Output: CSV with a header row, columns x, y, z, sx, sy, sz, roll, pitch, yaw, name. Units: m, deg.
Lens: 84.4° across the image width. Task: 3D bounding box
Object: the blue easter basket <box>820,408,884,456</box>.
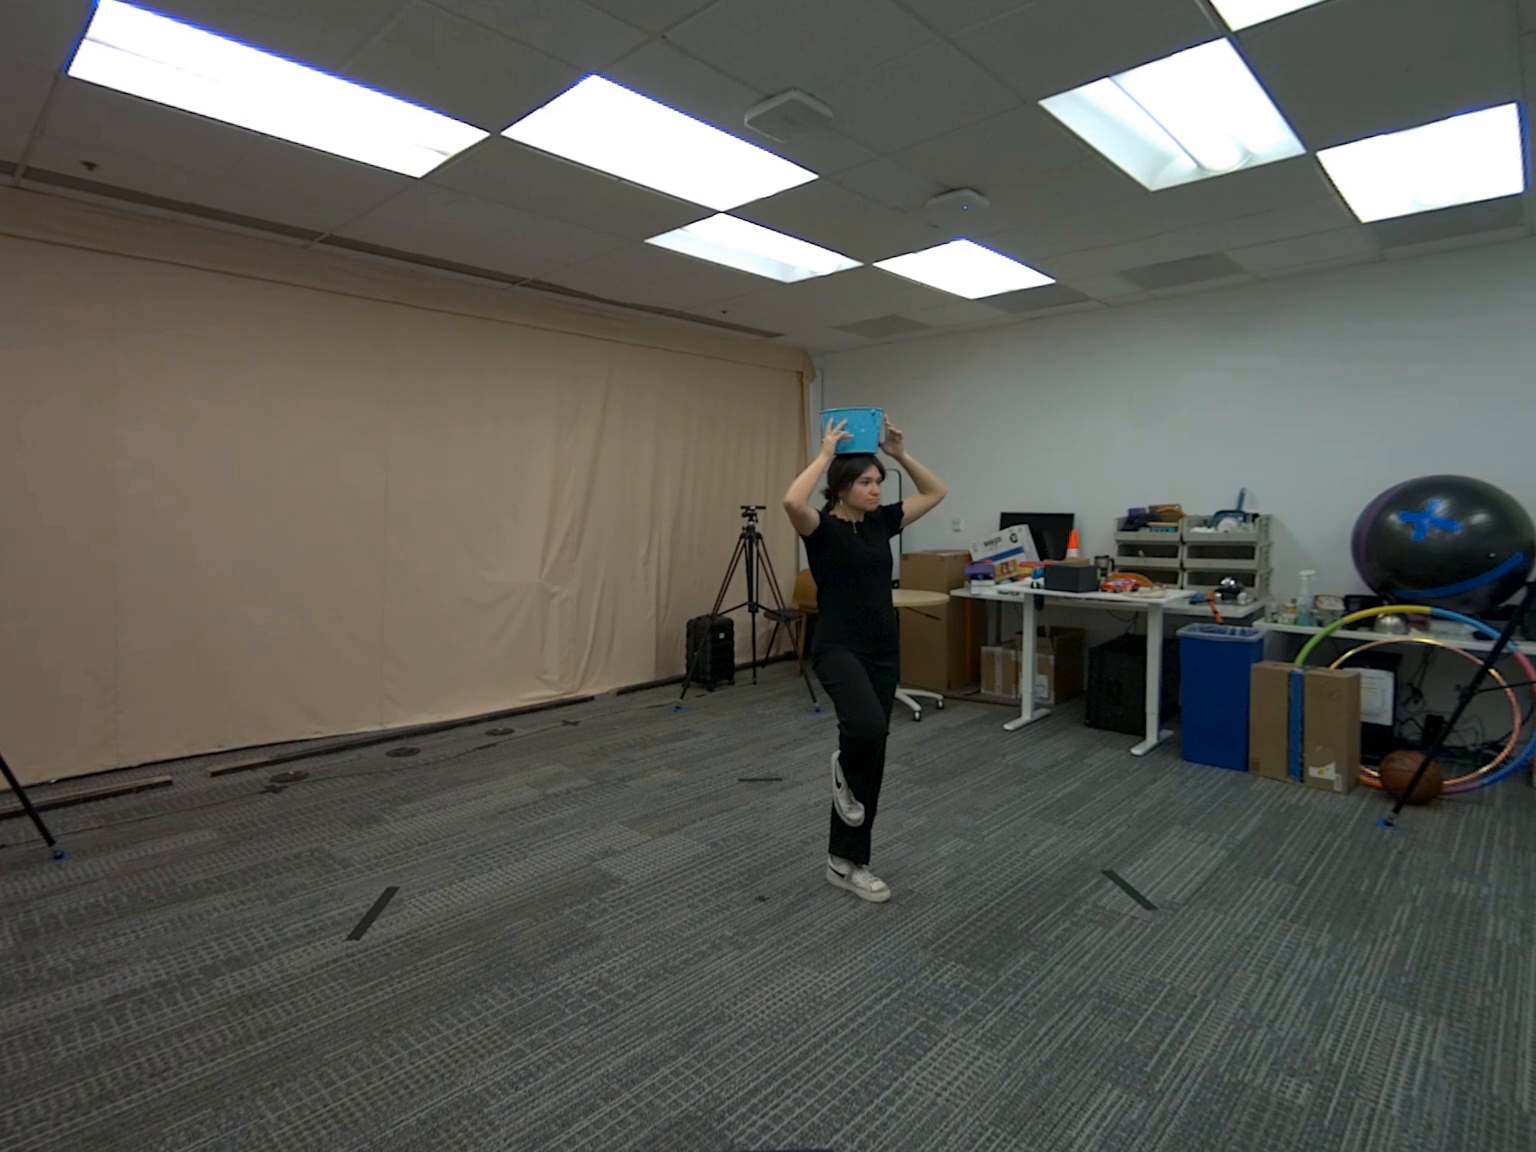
x,y,z,sx,sy,sz,roll,pitch,yaw,name
0.308,-0.515,3.026,0.243,0.155,0.244,-2,4,-2,blue easter basket
